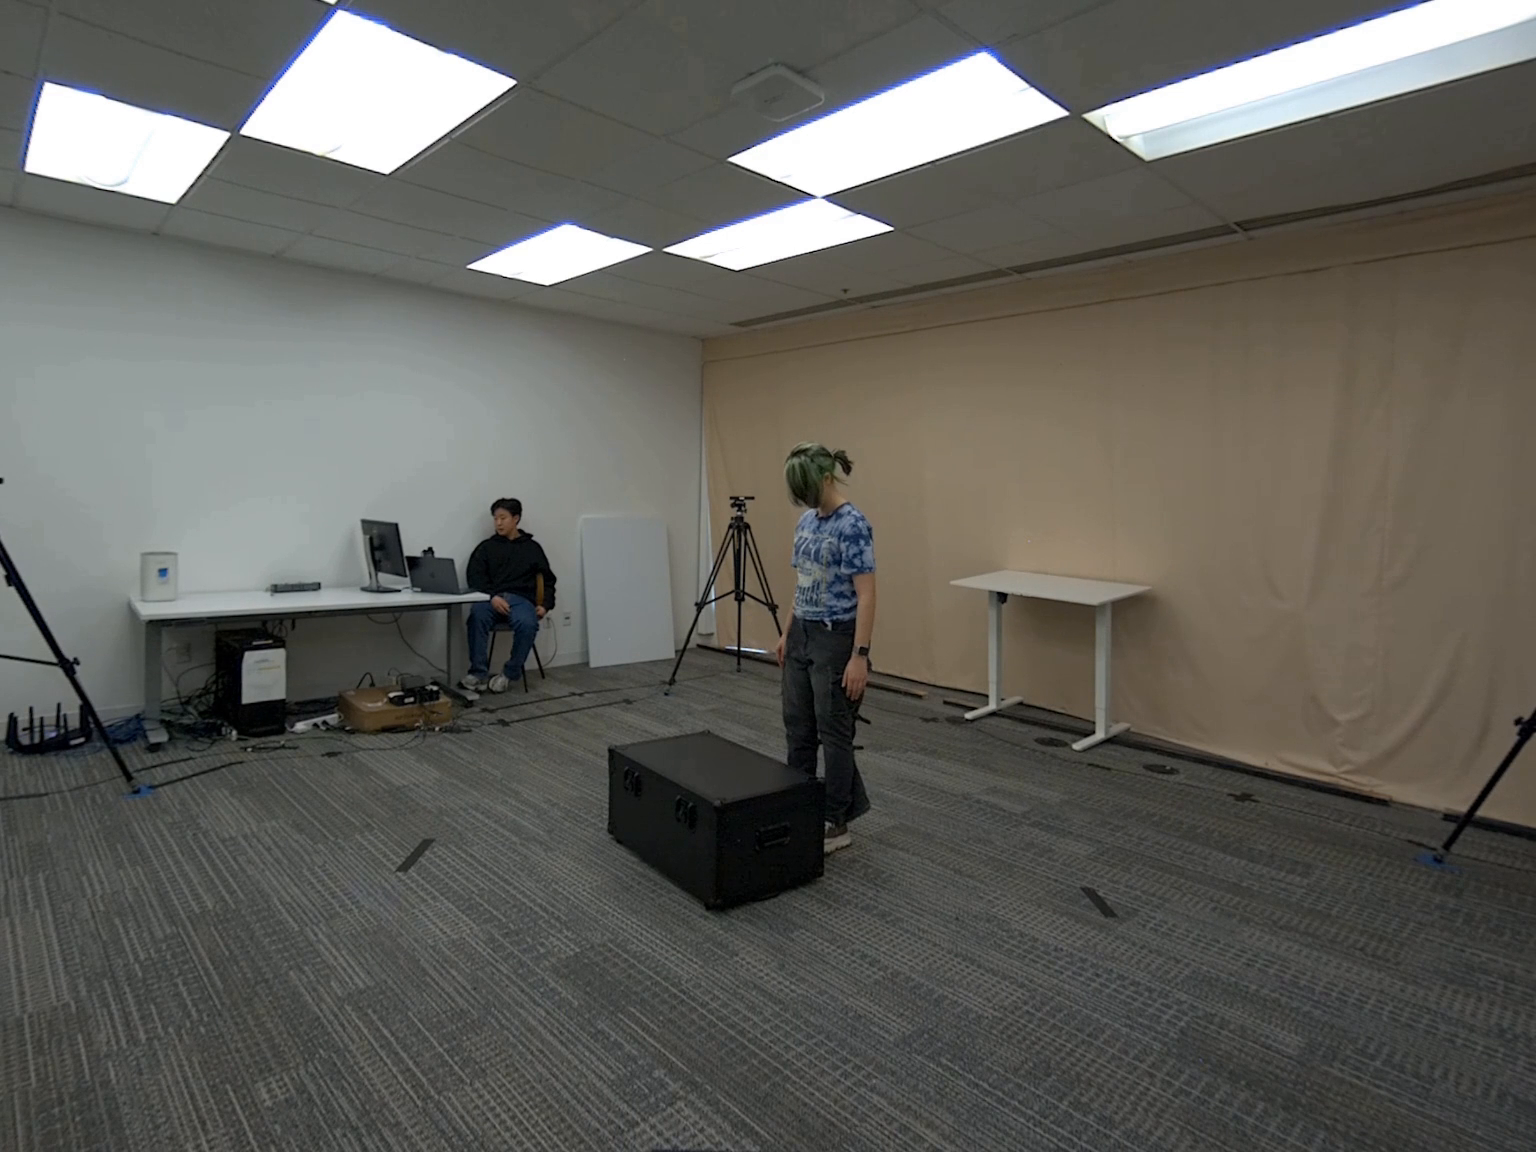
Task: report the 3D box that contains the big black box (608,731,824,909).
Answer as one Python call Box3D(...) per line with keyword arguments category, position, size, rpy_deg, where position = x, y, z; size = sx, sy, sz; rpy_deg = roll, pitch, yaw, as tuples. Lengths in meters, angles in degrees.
Box3D(category="big black box", position=(-0.247, 0.899, 3.250), size=(0.510, 0.395, 0.883), rpy_deg=(-2, 6, -37))
